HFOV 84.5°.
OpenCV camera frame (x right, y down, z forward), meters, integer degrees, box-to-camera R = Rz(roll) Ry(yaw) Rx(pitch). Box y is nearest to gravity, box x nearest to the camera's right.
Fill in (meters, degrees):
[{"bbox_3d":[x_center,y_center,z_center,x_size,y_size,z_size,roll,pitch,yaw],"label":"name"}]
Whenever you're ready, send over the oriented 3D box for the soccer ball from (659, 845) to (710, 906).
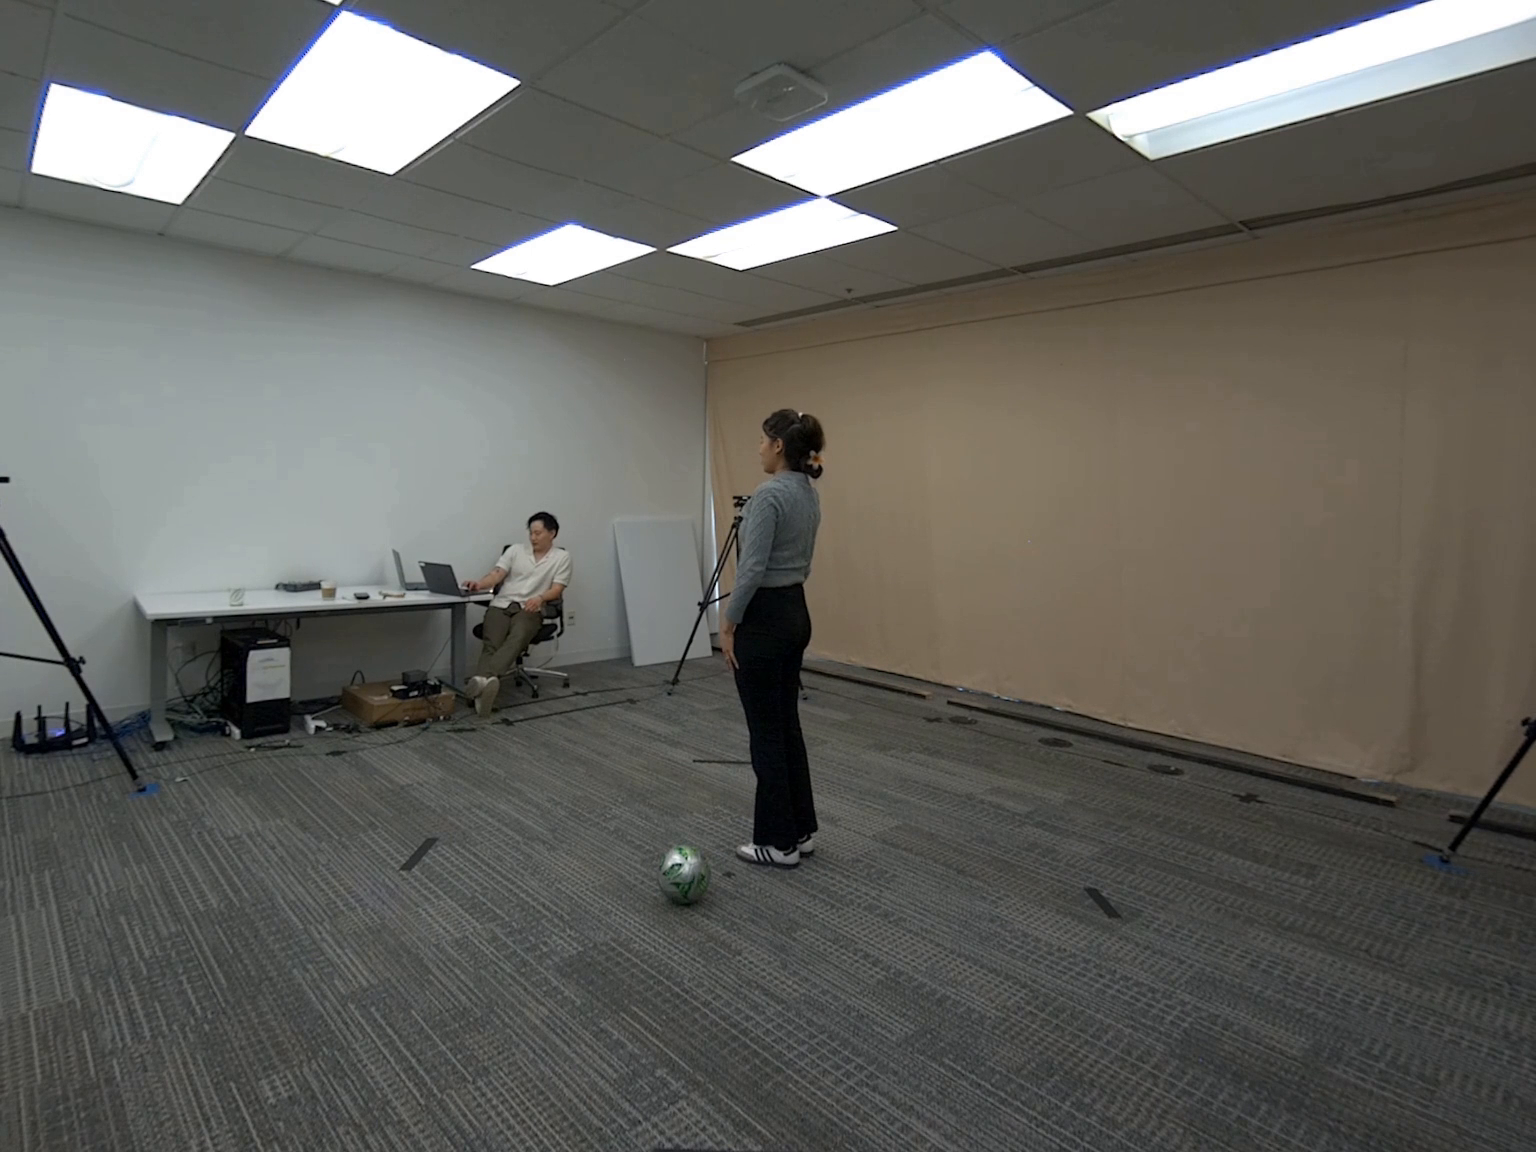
[{"bbox_3d":[-0.297,1.021,2.885,0.187,0.187,0.188,1,4,-1],"label":"soccer ball"}]
